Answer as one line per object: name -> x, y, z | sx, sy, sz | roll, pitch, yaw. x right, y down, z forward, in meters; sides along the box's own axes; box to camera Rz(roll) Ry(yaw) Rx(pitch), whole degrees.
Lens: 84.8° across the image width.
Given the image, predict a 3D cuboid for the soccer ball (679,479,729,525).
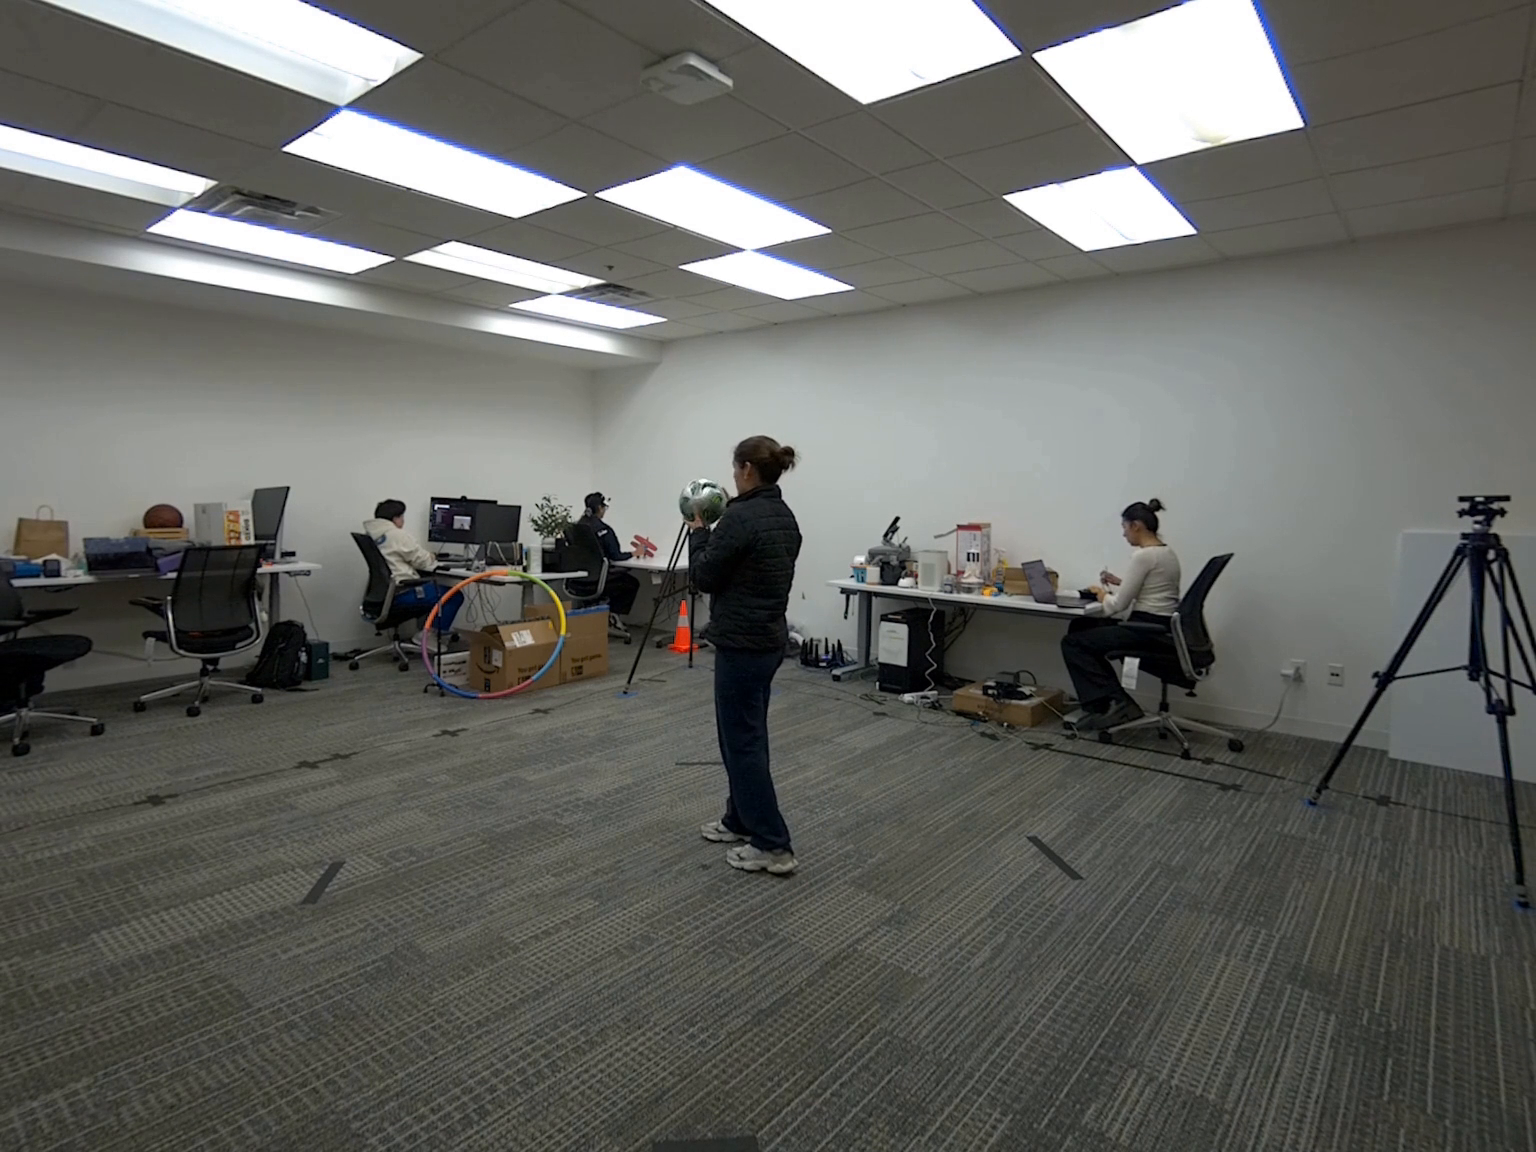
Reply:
soccer ball -> -0.259, -0.290, 3.379 | 0.187, 0.187, 0.188 | 1, 4, -2
